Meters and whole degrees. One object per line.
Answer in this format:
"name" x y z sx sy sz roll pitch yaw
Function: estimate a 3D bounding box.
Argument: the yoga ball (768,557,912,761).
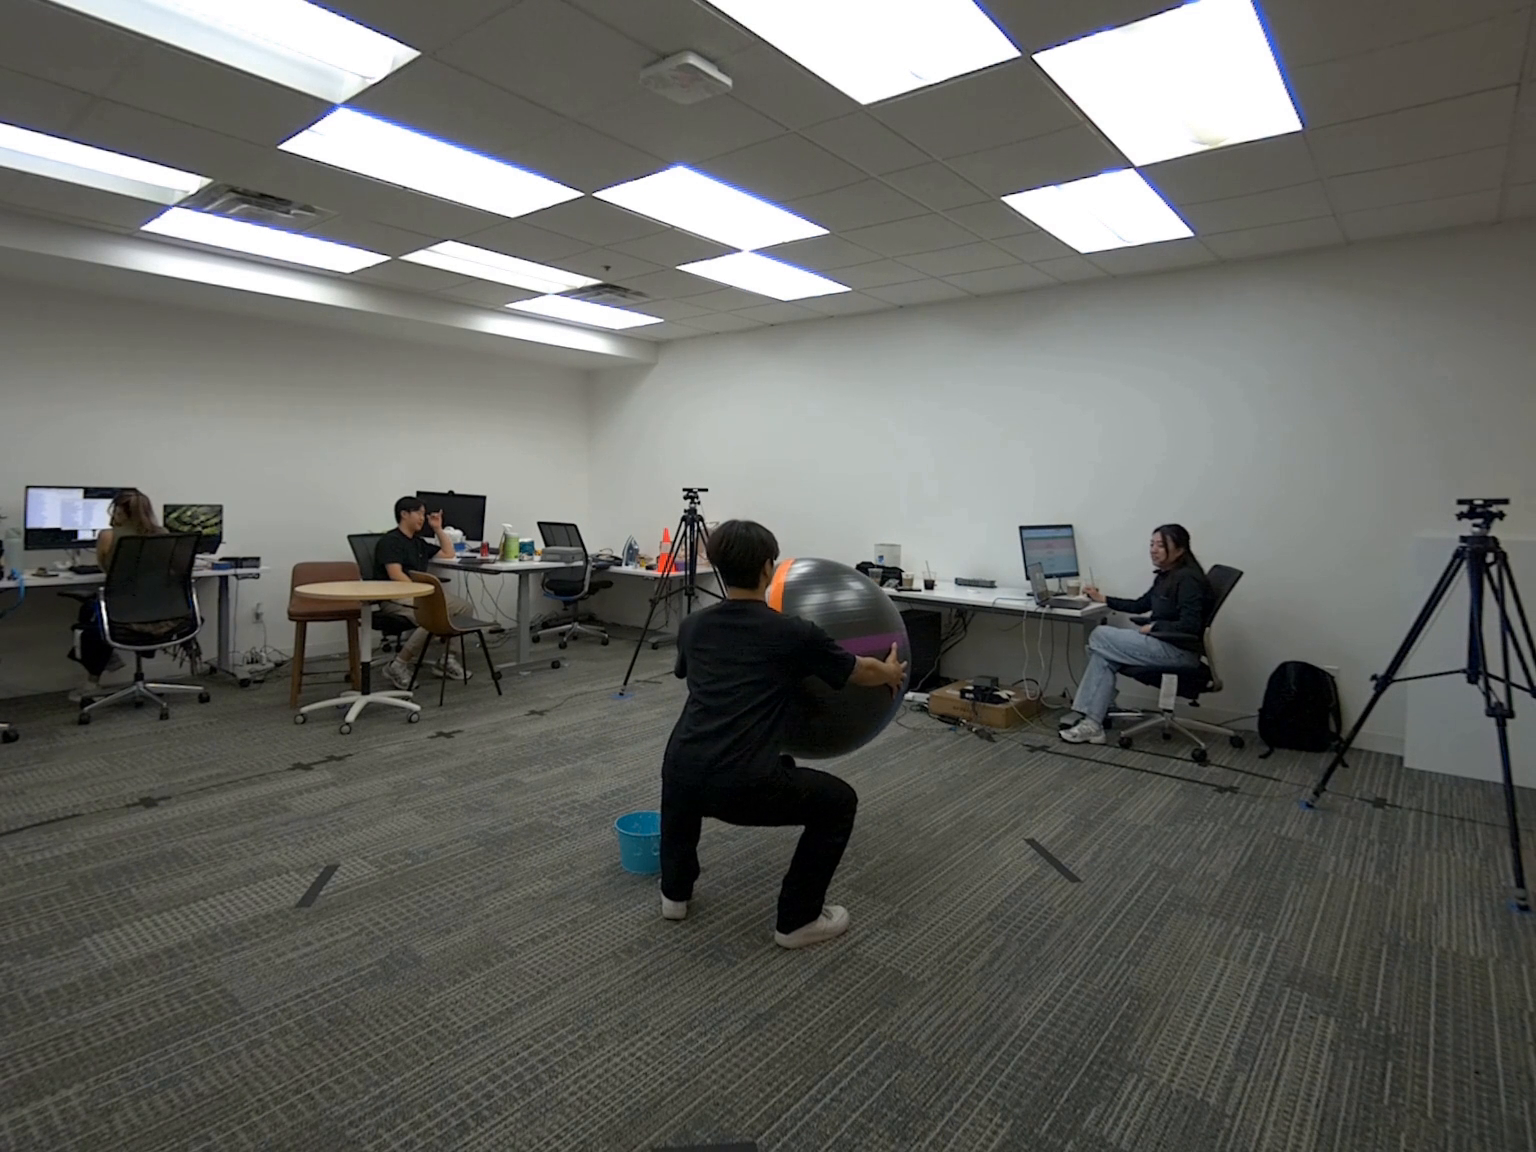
"yoga ball" 0.169 0.317 3.293 0.757 0.755 0.762 1 4 -2
